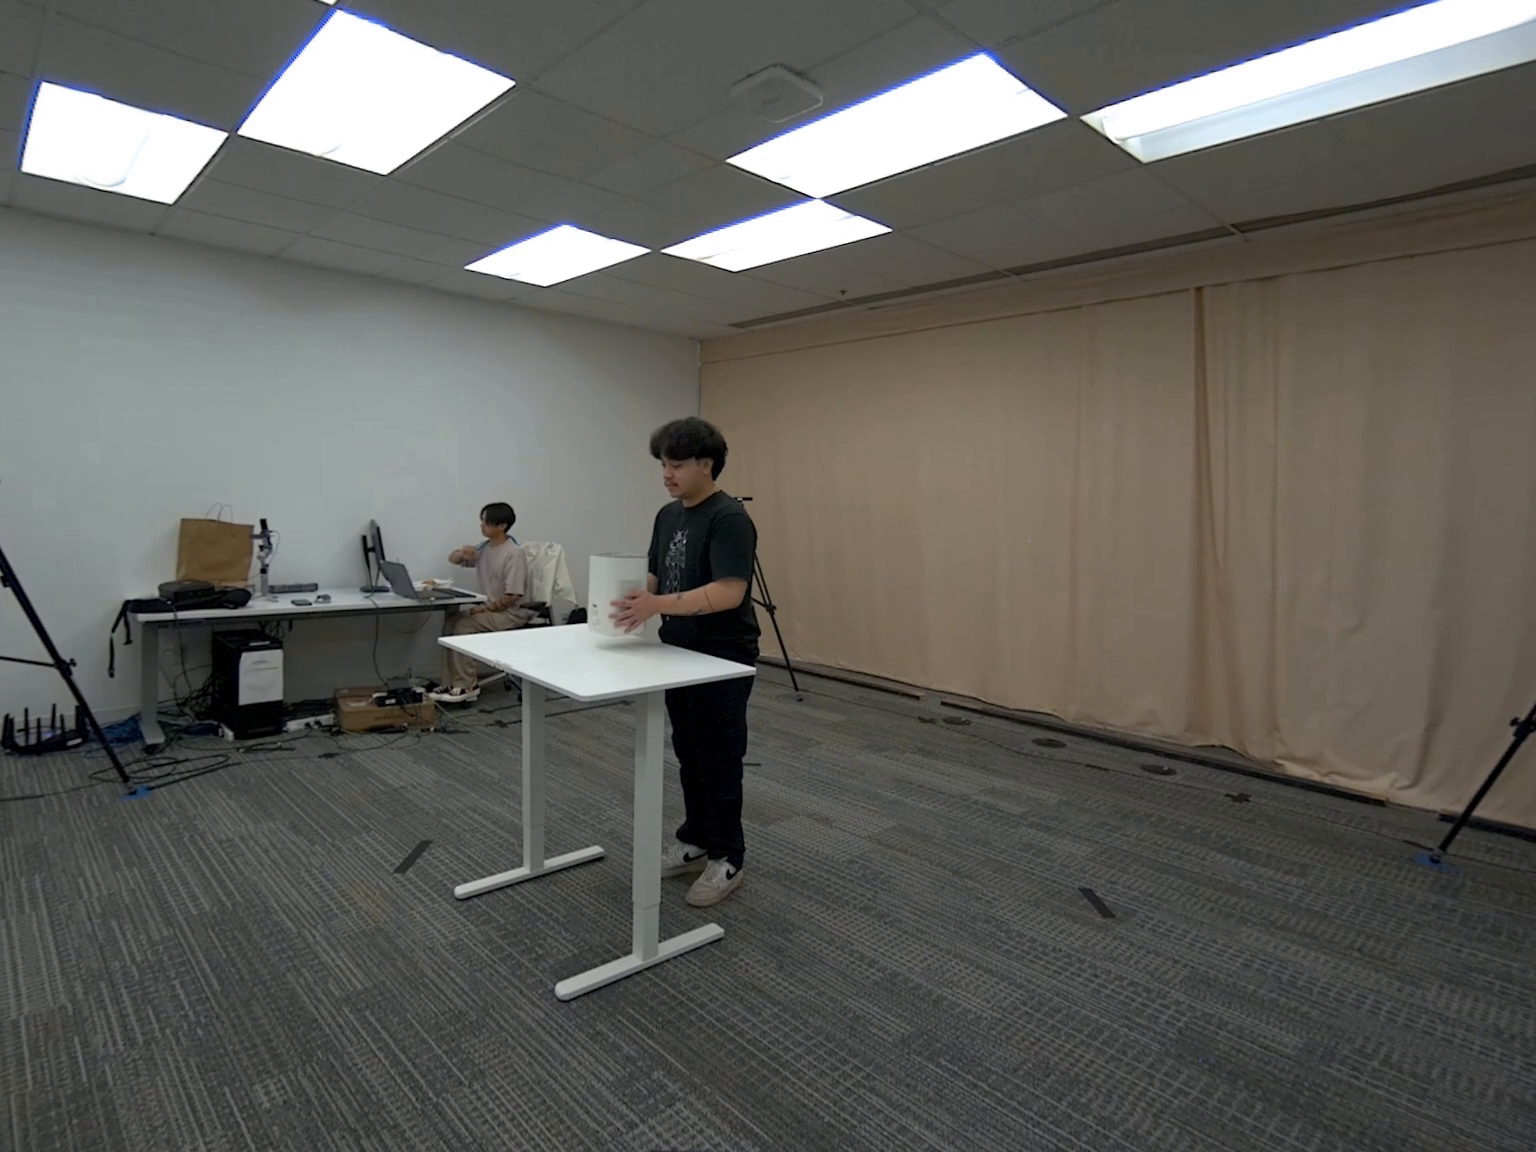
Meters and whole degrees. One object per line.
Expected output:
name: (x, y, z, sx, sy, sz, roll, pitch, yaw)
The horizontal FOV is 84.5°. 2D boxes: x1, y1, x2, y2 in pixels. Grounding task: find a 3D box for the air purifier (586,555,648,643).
air purifier: (-0.512, 0.062, 2.823, 0.167, 0.265, 0.175, 0, 4, -40)
